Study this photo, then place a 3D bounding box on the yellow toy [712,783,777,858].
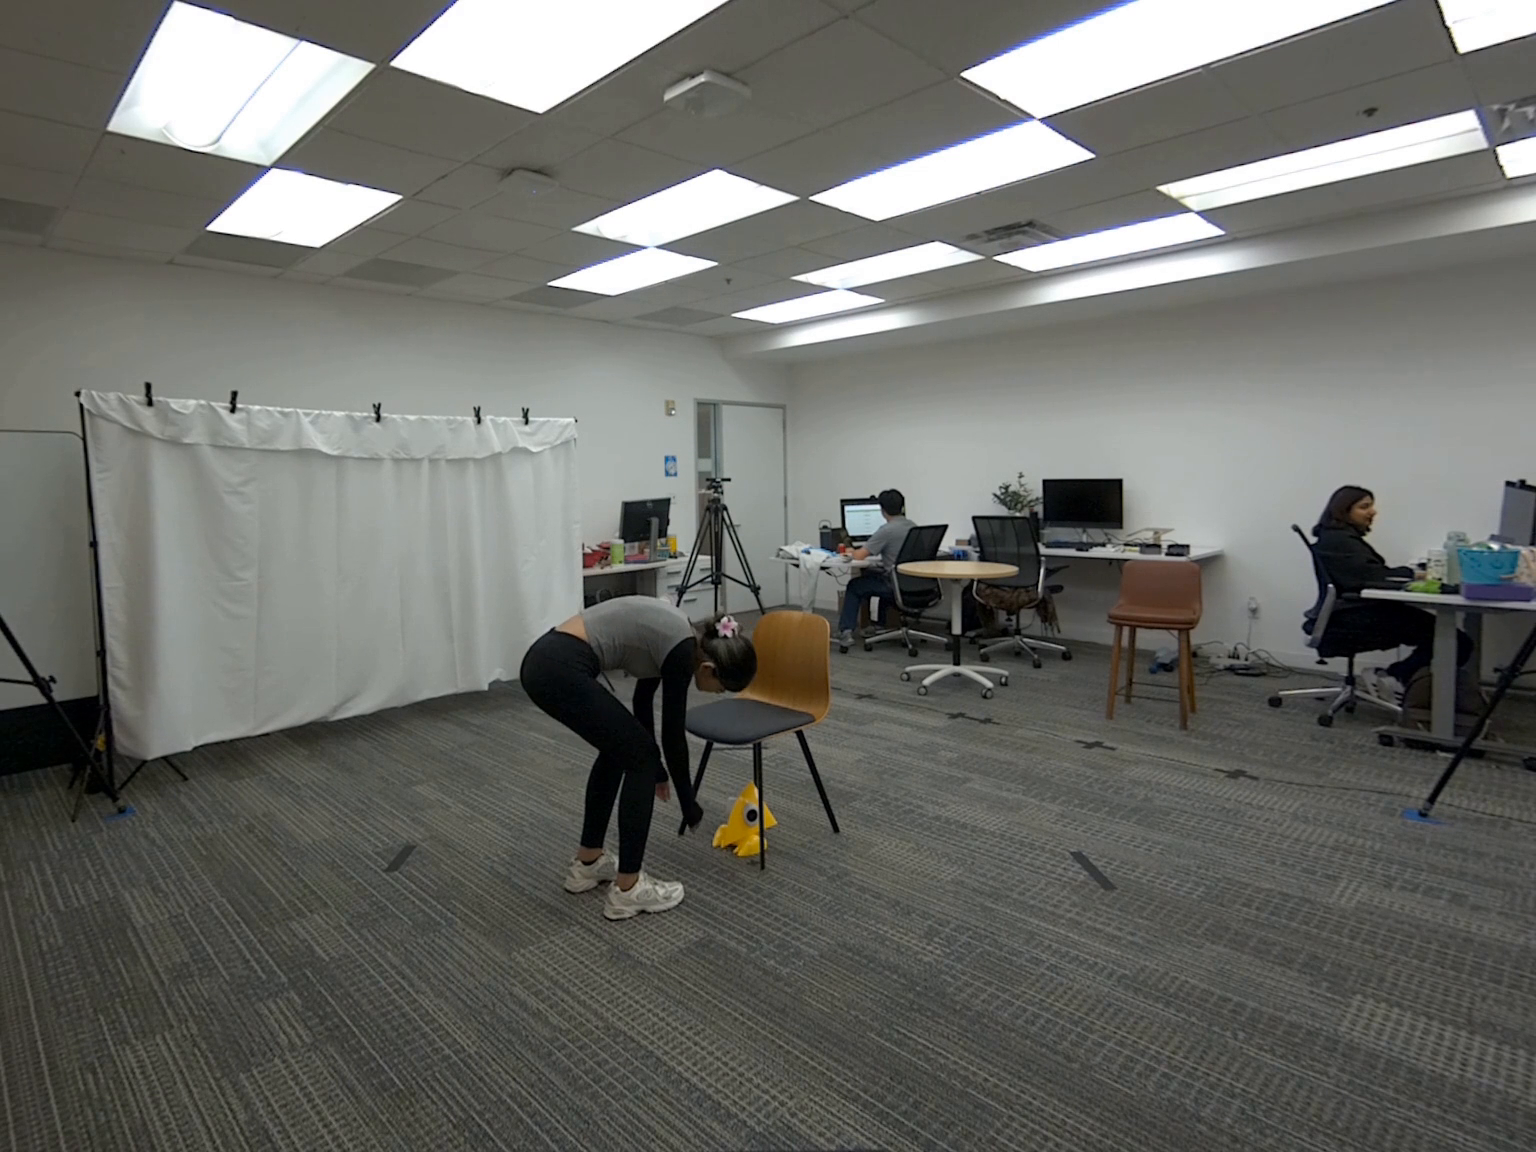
[{"bbox_3d":[-0.097,0.915,3.259,0.211,0.230,0.188,5,7,42],"label":"yellow toy"}]
